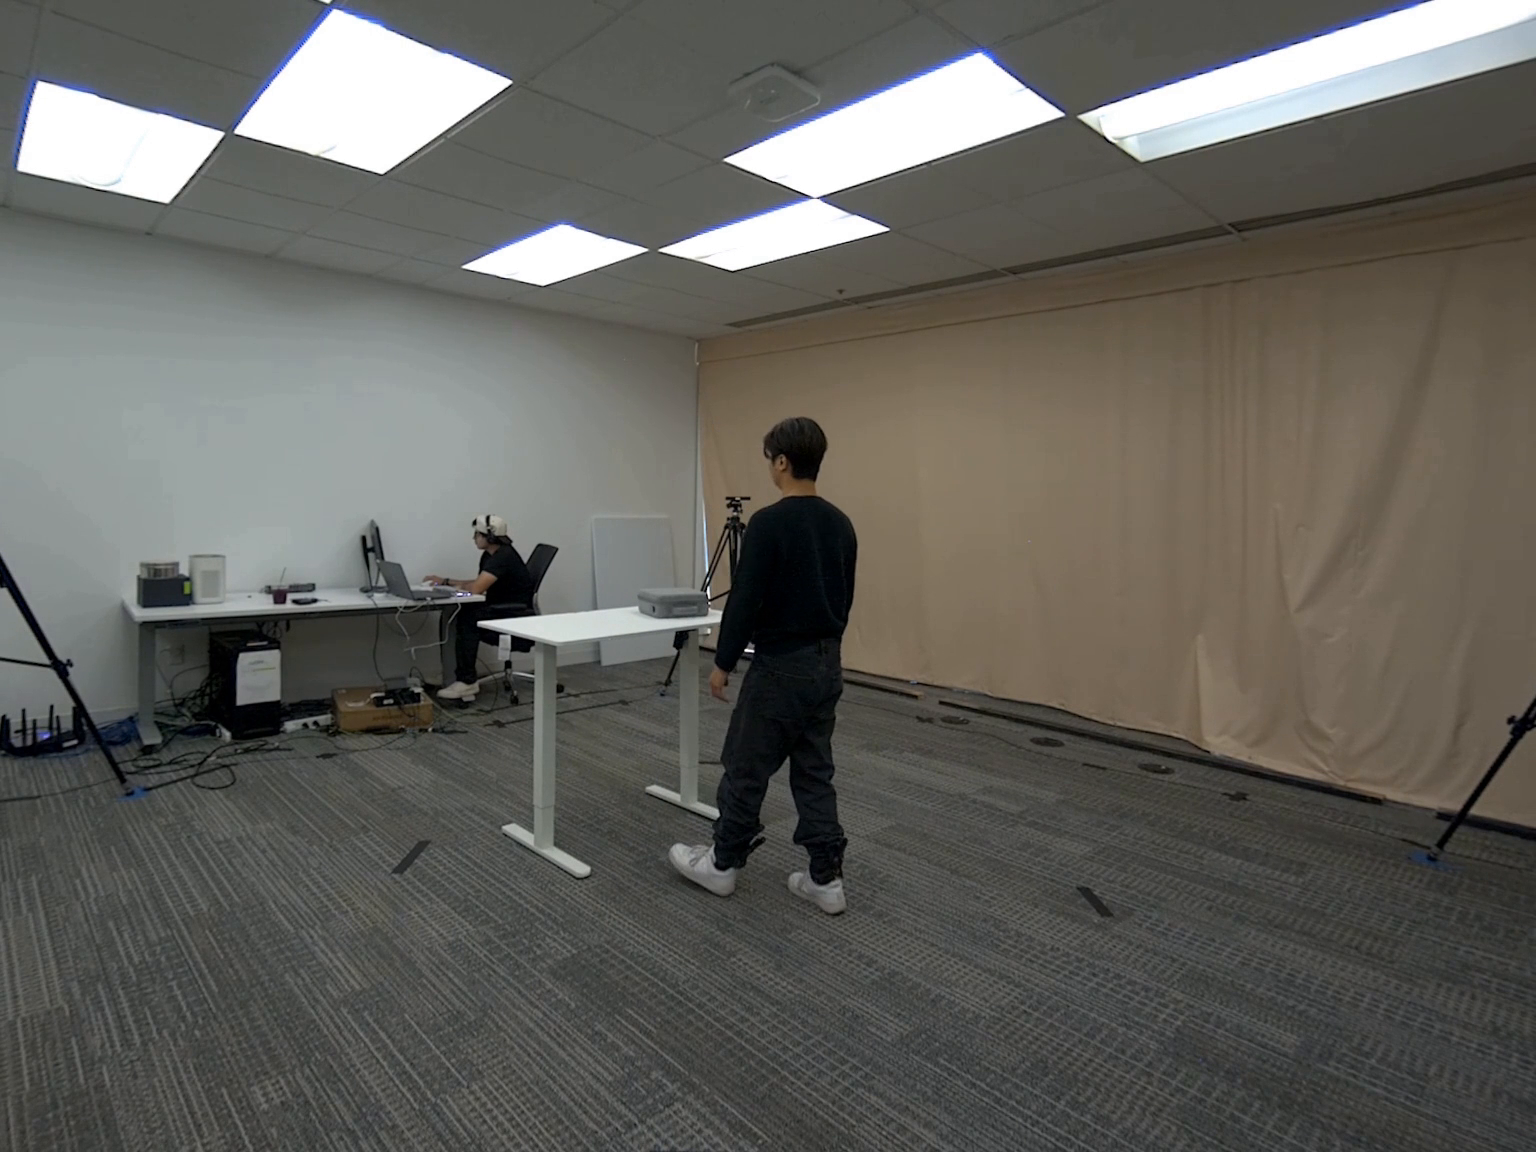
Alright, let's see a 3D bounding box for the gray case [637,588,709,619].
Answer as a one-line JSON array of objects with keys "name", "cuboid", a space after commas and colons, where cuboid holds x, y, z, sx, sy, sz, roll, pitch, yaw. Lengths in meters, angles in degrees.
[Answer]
[{"name": "gray case", "cuboid": [-0.418, 0.113, 3.663, 0.252, 0.104, 0.266, 0, 6, -27]}]
